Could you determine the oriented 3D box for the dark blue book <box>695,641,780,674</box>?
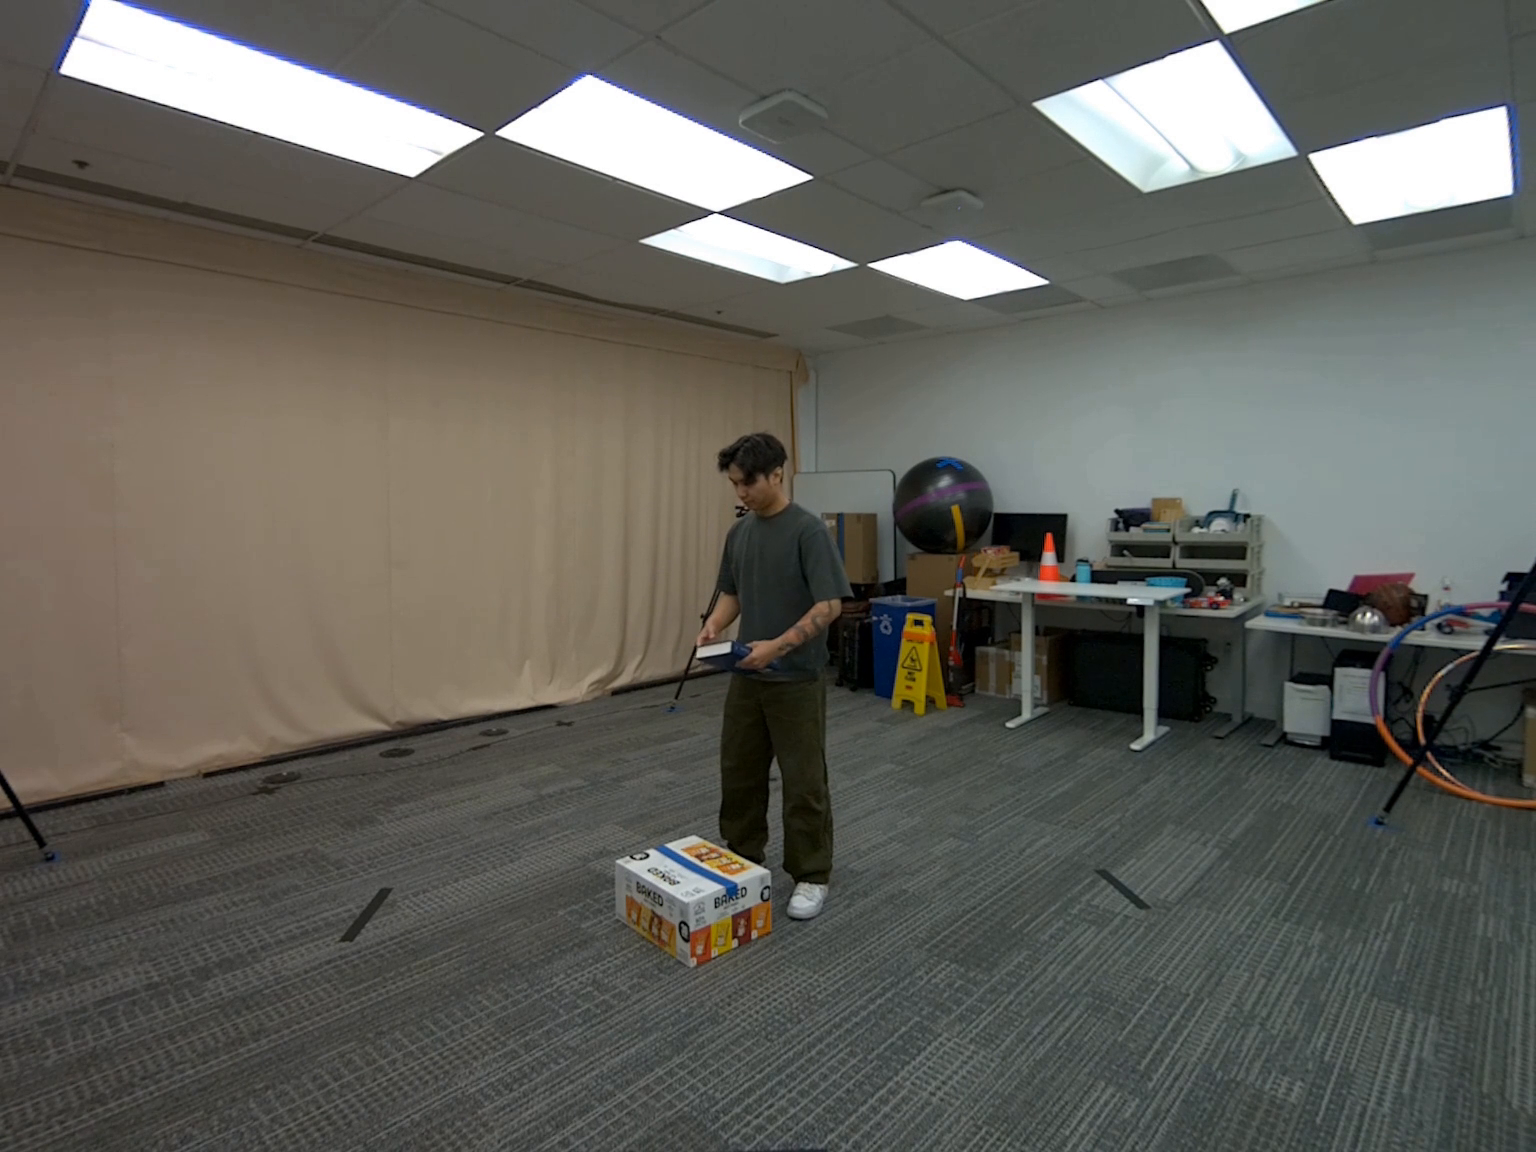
[{"bbox_3d":[-0.104,0.272,2.781,0.167,0.046,0.236,-14,-27,38],"label":"dark blue book"}]
